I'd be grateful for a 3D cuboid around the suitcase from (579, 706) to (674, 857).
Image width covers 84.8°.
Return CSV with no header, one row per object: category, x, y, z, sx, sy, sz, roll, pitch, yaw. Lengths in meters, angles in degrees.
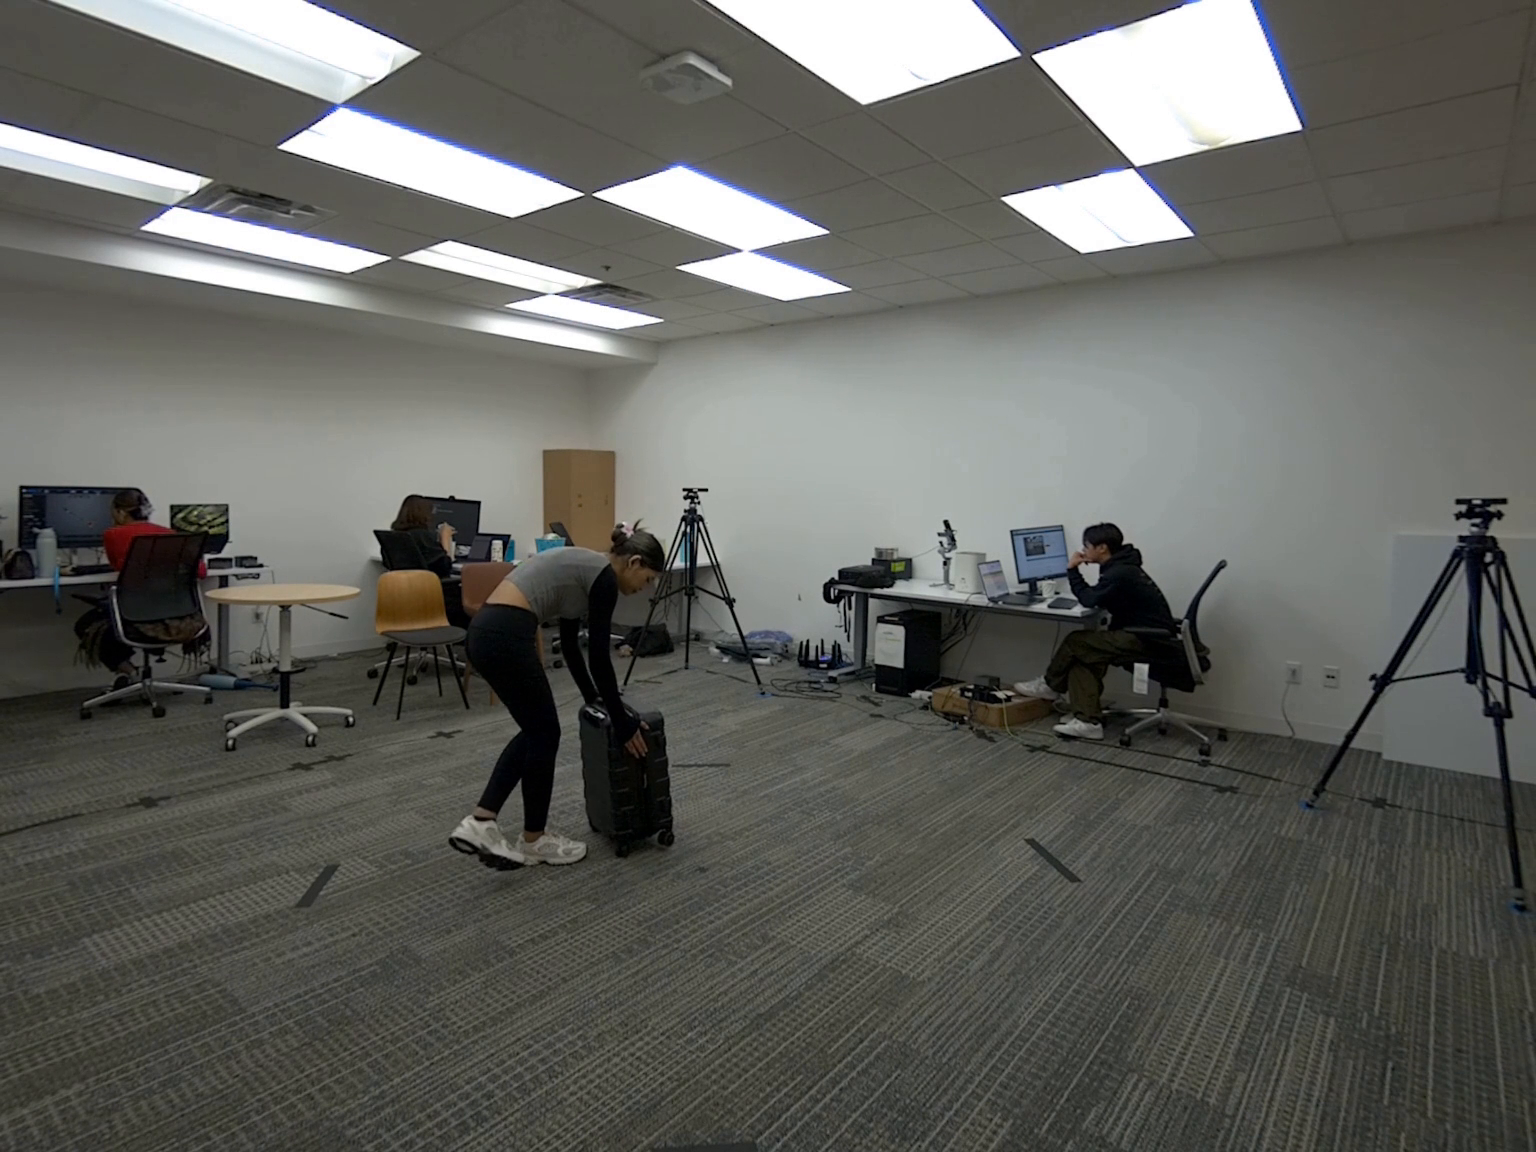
suitcase,-0.580,0.758,3.350,0.242,0.547,0.387,-6,6,-30
